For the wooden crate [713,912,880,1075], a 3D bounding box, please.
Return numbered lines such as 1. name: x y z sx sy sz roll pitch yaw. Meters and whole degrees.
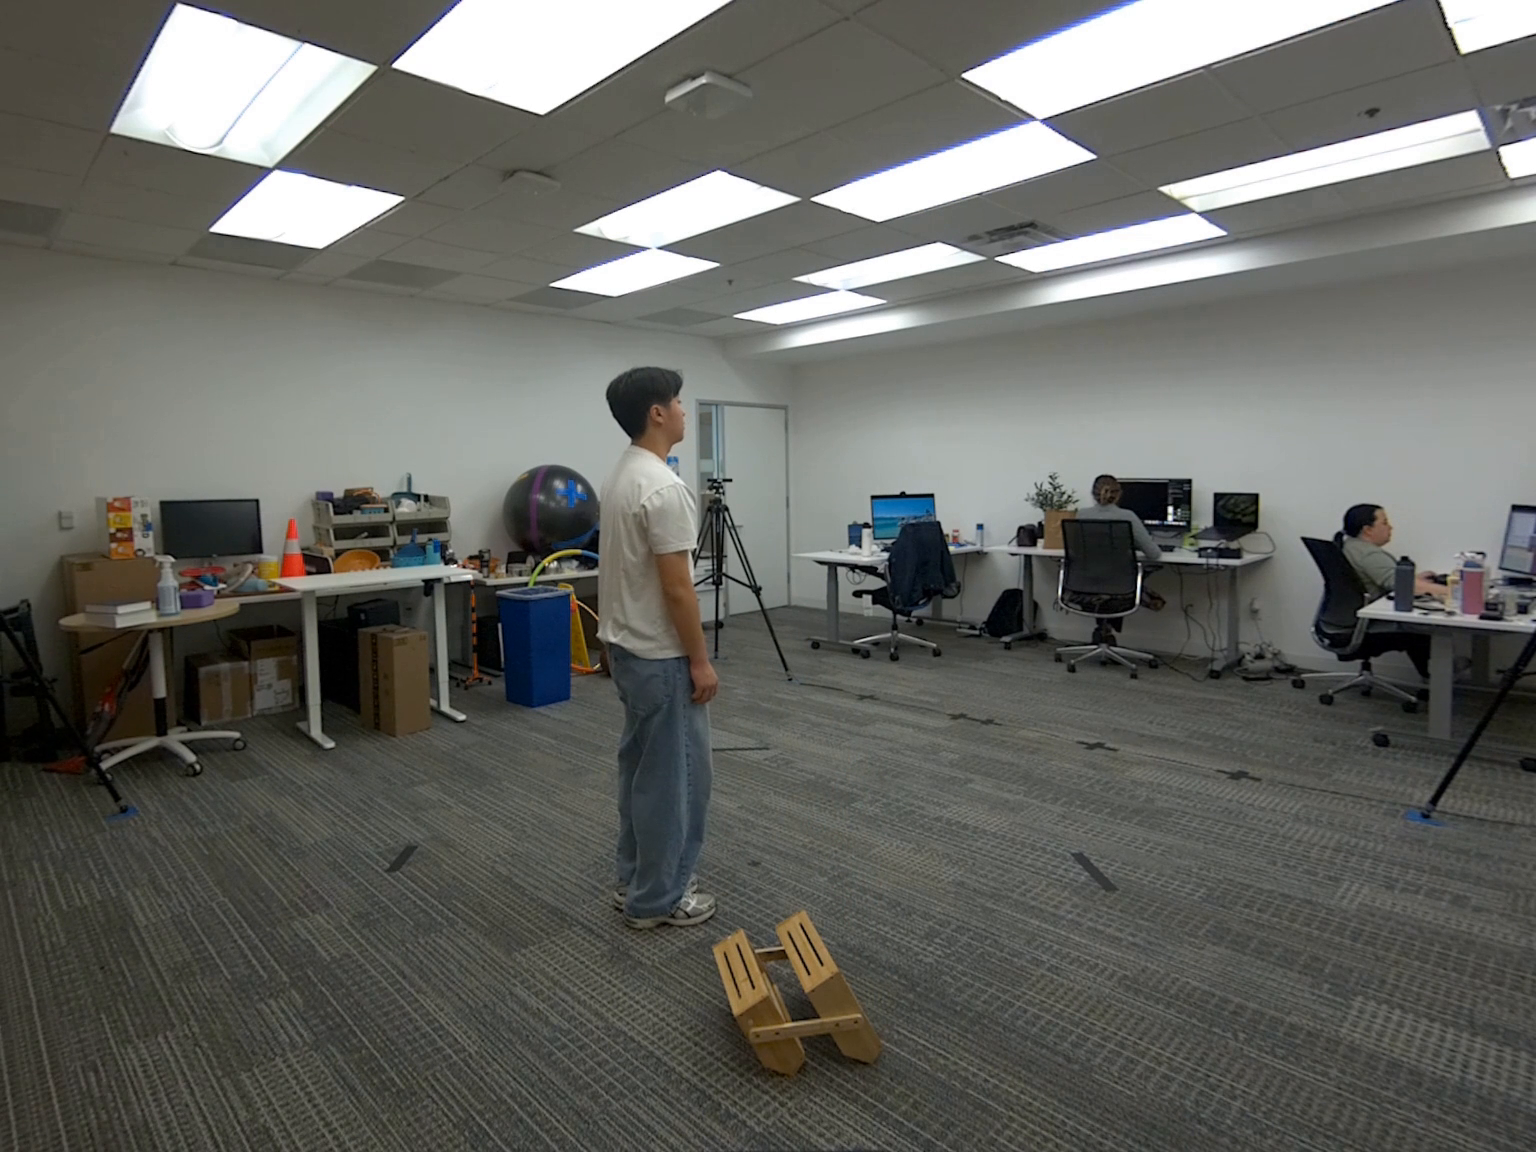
1. wooden crate: 0.075 1.067 2.149 0.272 0.298 0.329 -30 10 -8
